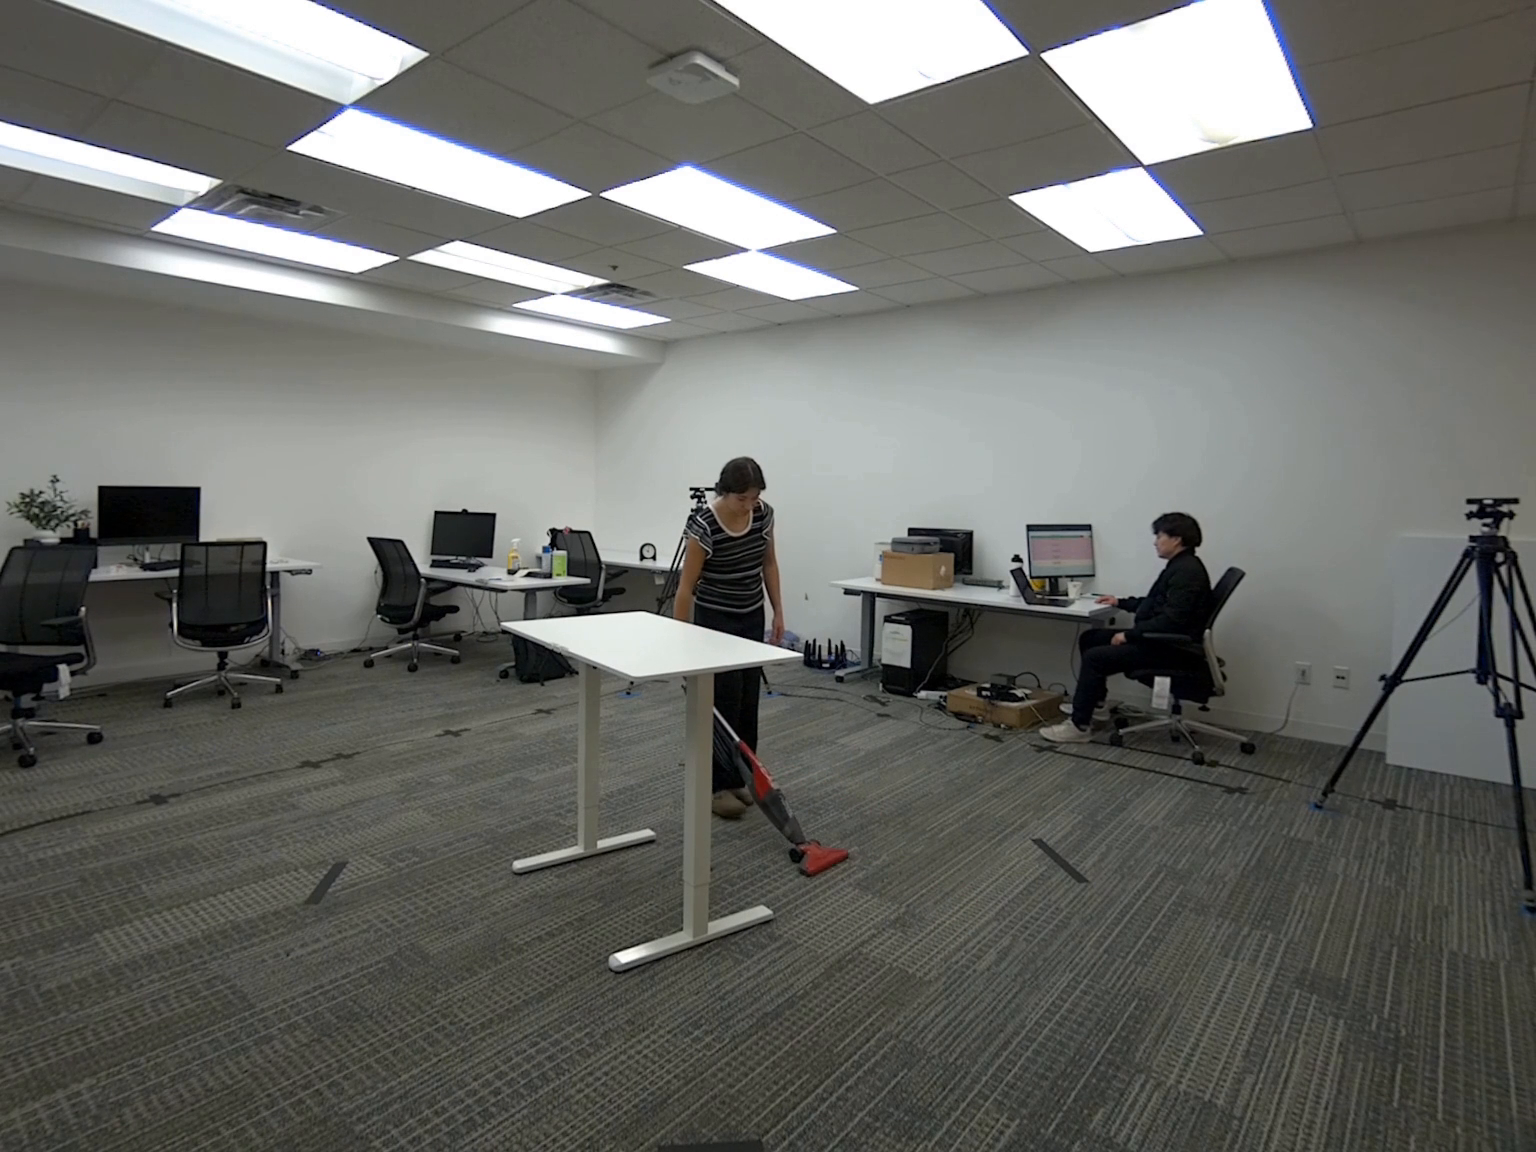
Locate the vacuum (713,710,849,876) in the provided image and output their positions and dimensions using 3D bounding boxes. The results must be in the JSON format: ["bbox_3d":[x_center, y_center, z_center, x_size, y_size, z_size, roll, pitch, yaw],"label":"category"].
[{"bbox_3d":[-0.115,0.731,3.461,0.245,0.143,1.092,-2,37,-45],"label":"vacuum"}]
